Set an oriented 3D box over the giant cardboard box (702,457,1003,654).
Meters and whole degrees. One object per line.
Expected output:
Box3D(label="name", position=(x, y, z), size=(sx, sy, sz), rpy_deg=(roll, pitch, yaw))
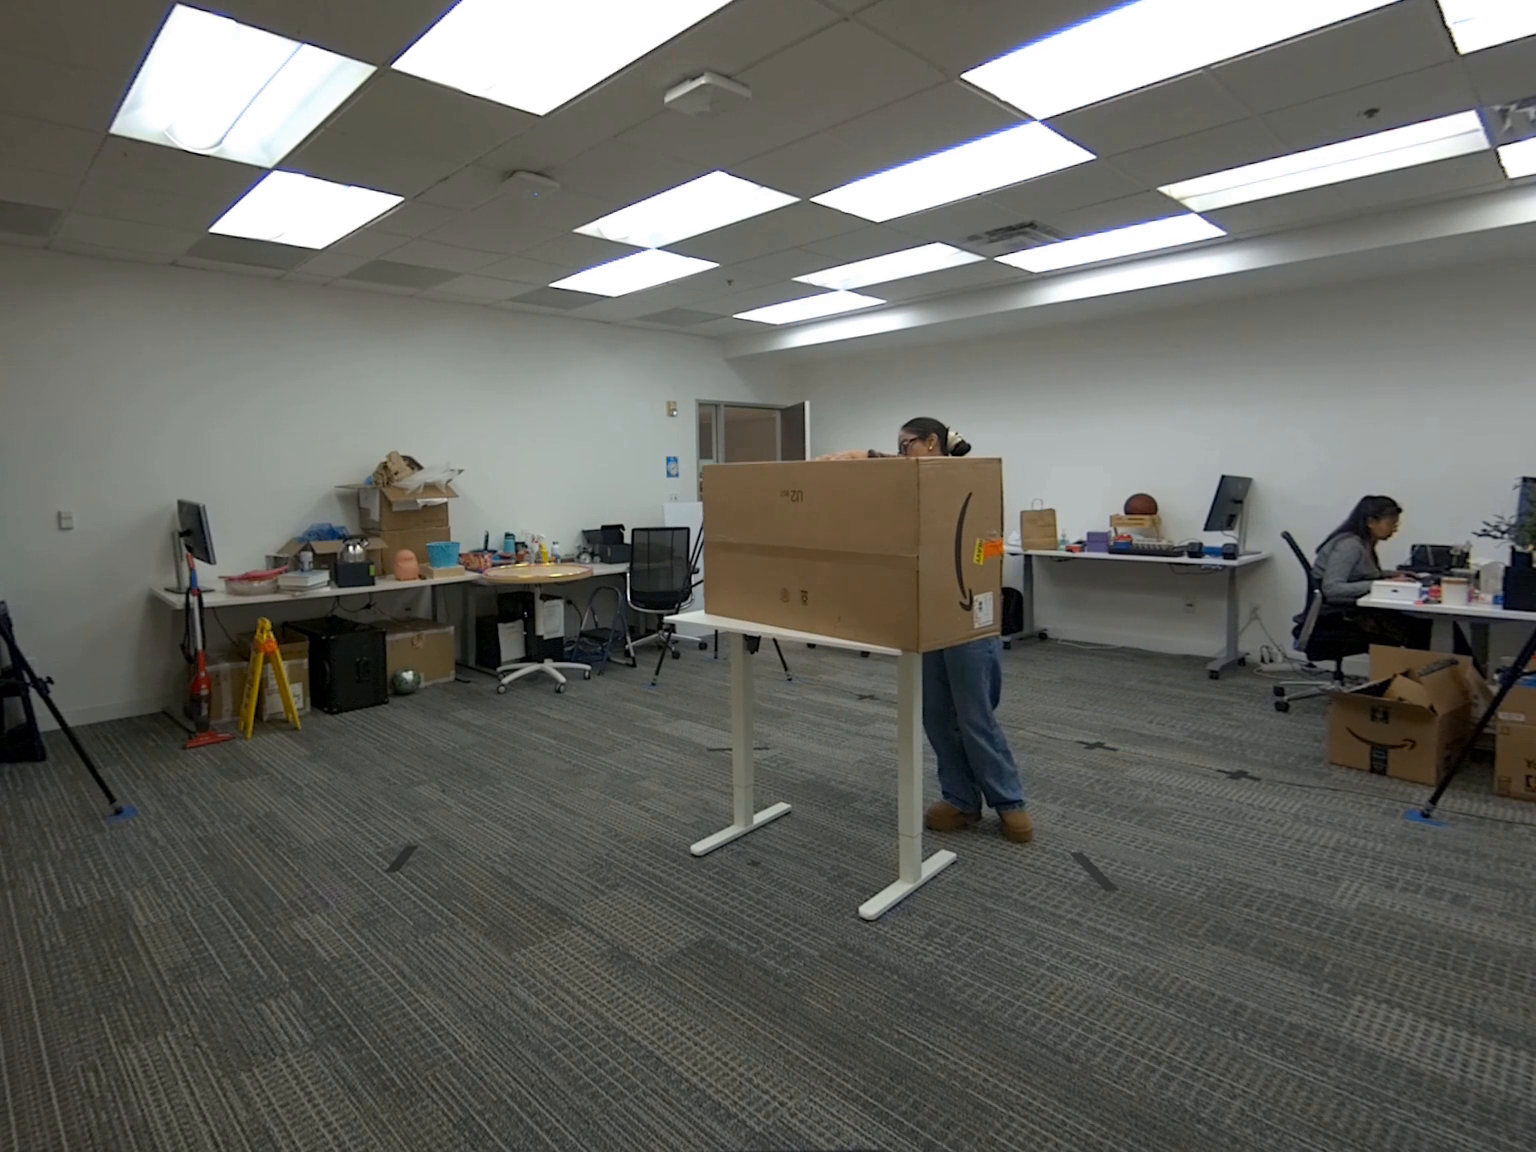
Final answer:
Box3D(label="giant cardboard box", position=(0.249, -0.111, 2.997), size=(0.415, 0.575, 1.058), rpy_deg=(-6, 8, -40))
